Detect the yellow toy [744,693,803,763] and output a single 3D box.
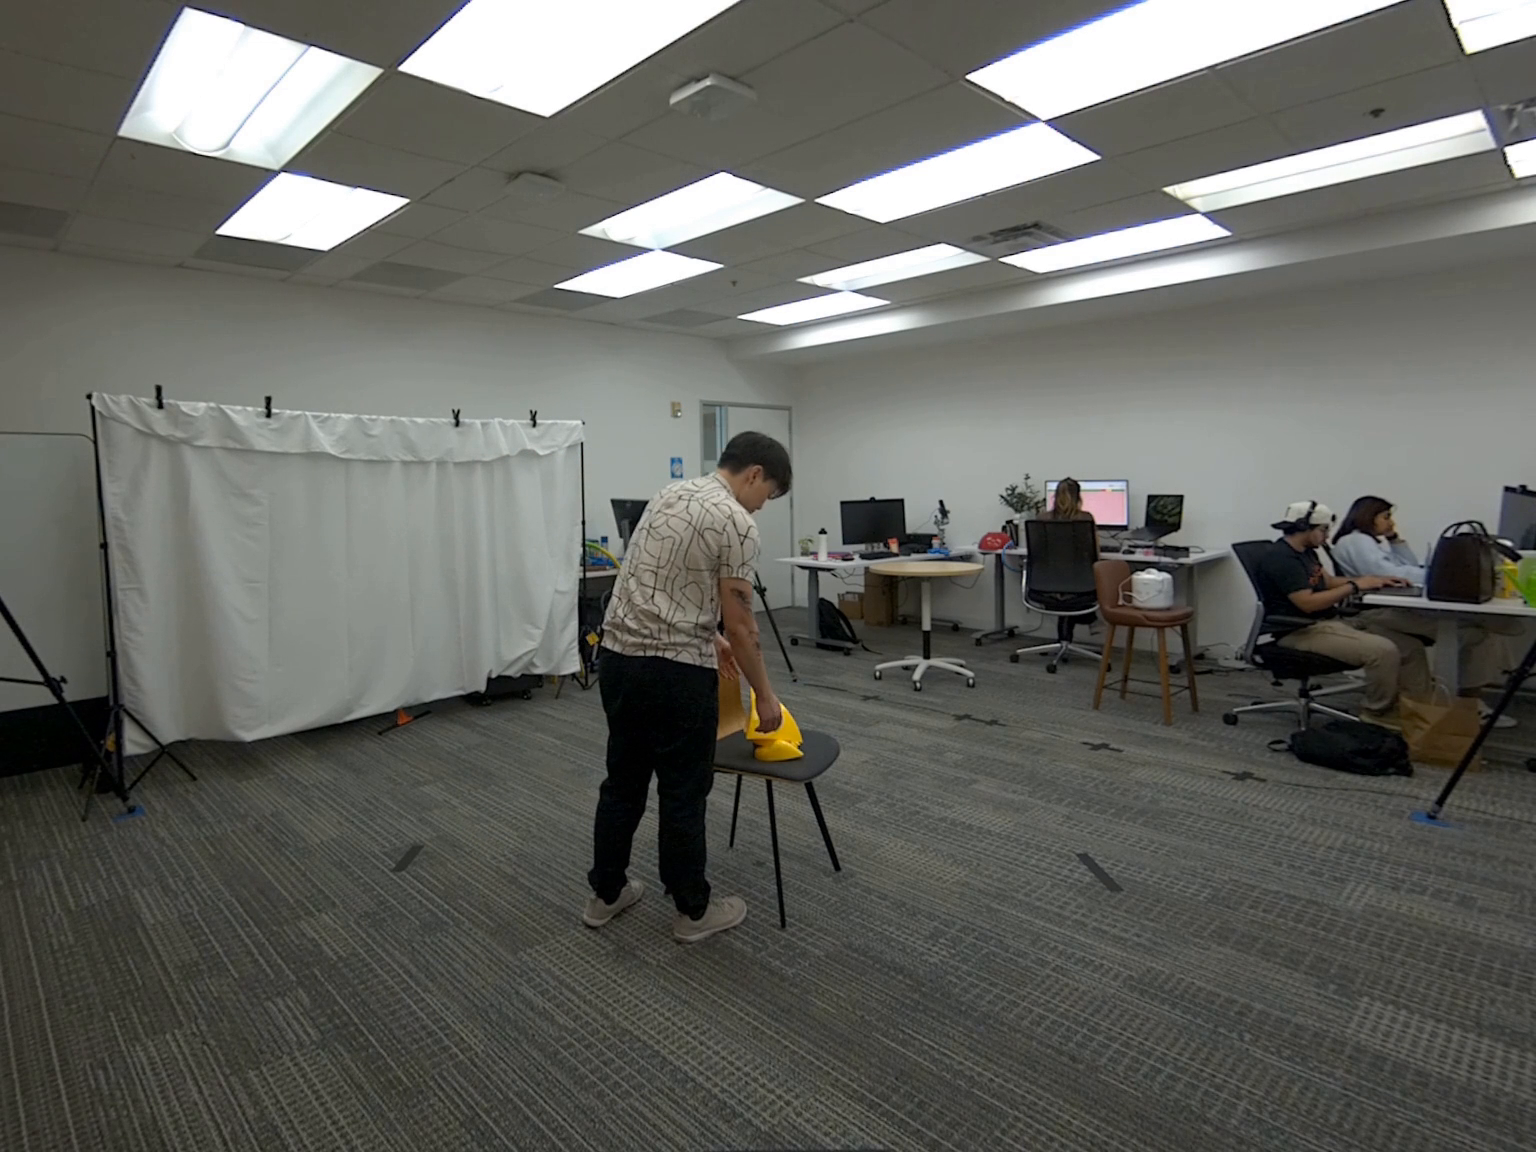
[{"bbox_3d":[0.012,0.478,2.864,0.193,0.230,0.205,-5,2,-1],"label":"yellow toy"}]
